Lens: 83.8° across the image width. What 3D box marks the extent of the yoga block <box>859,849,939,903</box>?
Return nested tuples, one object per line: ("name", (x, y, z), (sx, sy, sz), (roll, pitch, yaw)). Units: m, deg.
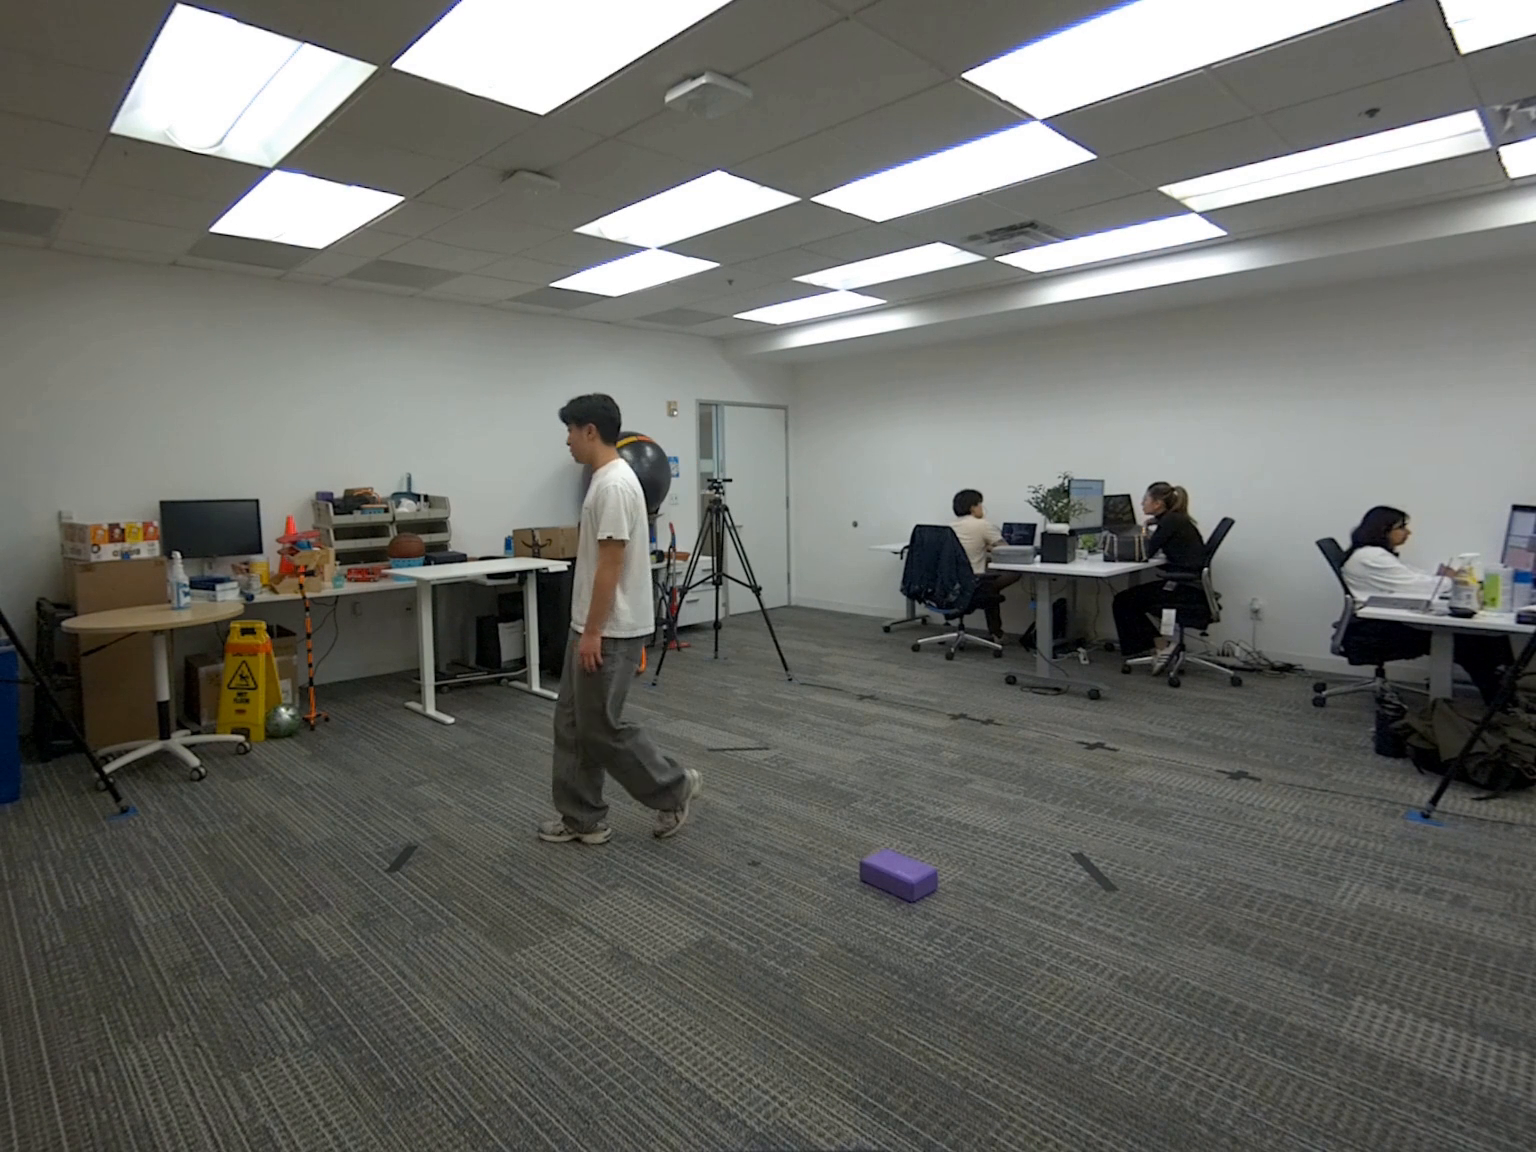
("yoga block", (0.450, 1.021, 2.922), (0.145, 0.076, 0.236), (-6, 8, -42))
